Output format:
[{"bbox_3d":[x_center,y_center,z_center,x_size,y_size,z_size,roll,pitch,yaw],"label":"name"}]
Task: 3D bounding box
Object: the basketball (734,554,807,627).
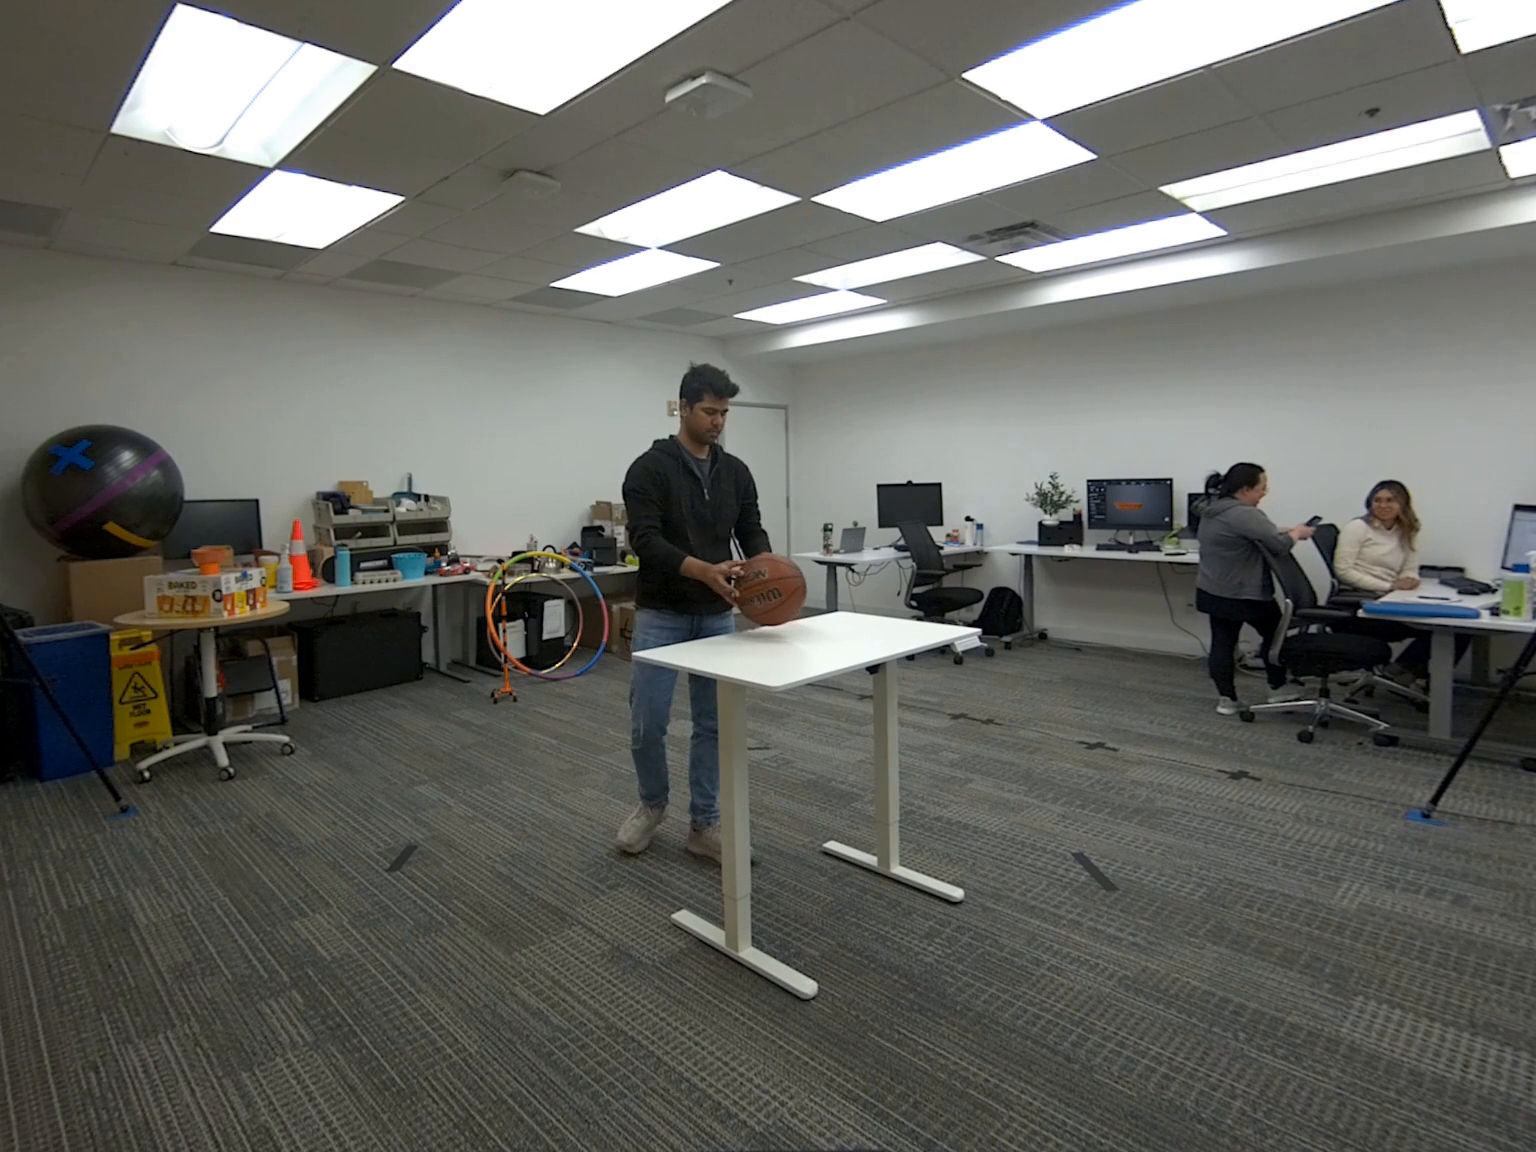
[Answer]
[{"bbox_3d":[-0.008,0.043,2.786,0.236,0.235,0.237,-1,5,-2],"label":"basketball"}]
